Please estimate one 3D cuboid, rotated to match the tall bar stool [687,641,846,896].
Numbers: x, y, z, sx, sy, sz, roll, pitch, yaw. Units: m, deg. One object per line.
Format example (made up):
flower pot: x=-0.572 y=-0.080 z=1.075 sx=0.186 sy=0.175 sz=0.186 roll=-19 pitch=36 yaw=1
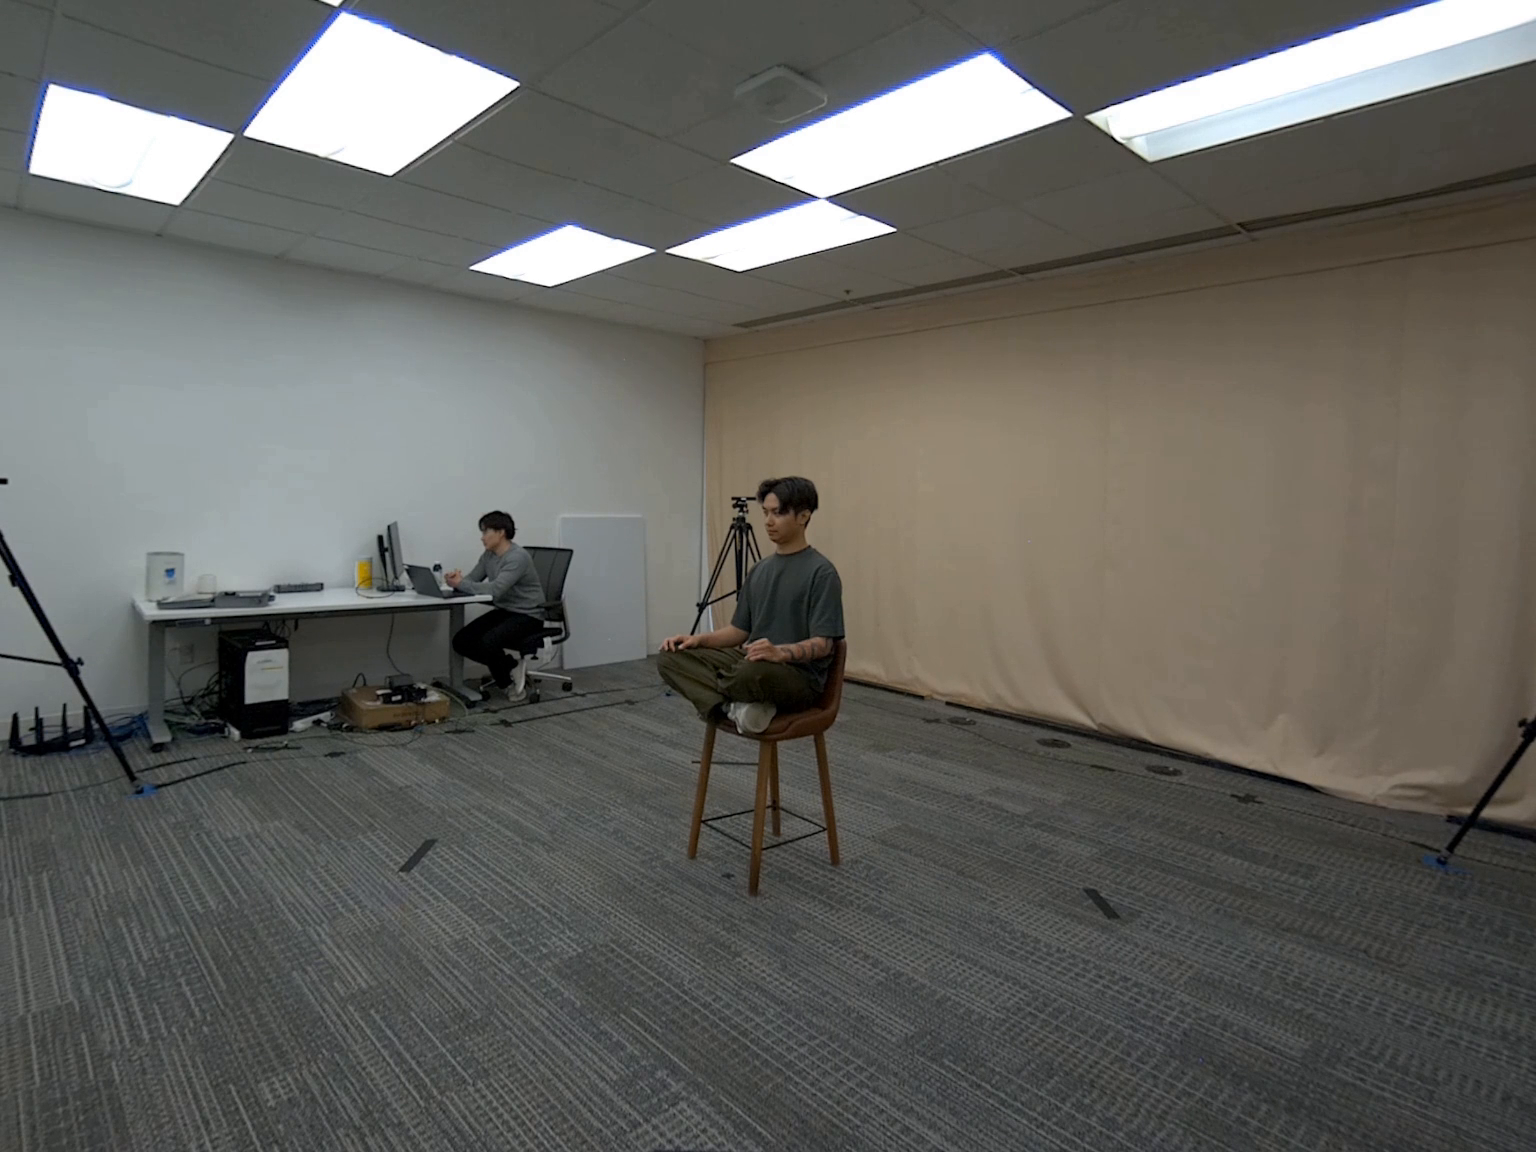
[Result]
tall bar stool: x=0.002 y=0.665 z=3.220 sx=0.456 sy=0.889 sz=0.468 roll=2 pitch=2 yaw=-39
